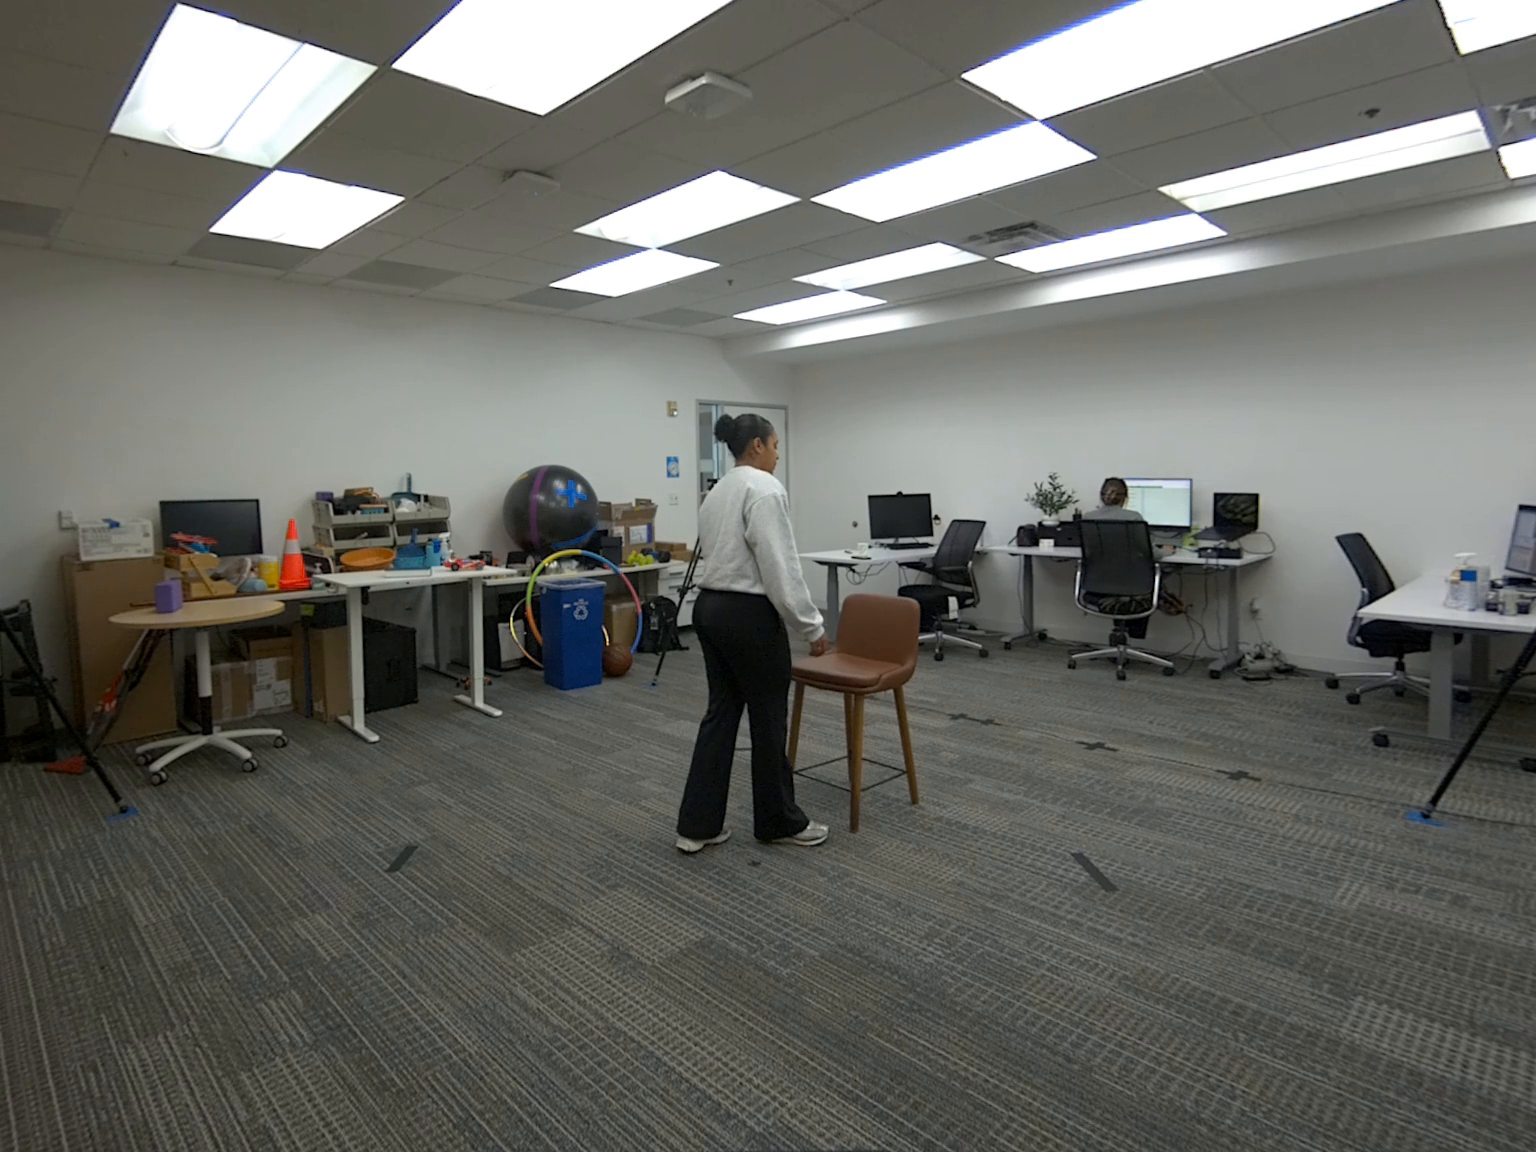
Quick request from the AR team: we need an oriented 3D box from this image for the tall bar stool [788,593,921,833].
[{"bbox_3d":[0.355,0.538,3.631,0.454,0.888,0.470,-1,4,-42],"label":"tall bar stool"}]
